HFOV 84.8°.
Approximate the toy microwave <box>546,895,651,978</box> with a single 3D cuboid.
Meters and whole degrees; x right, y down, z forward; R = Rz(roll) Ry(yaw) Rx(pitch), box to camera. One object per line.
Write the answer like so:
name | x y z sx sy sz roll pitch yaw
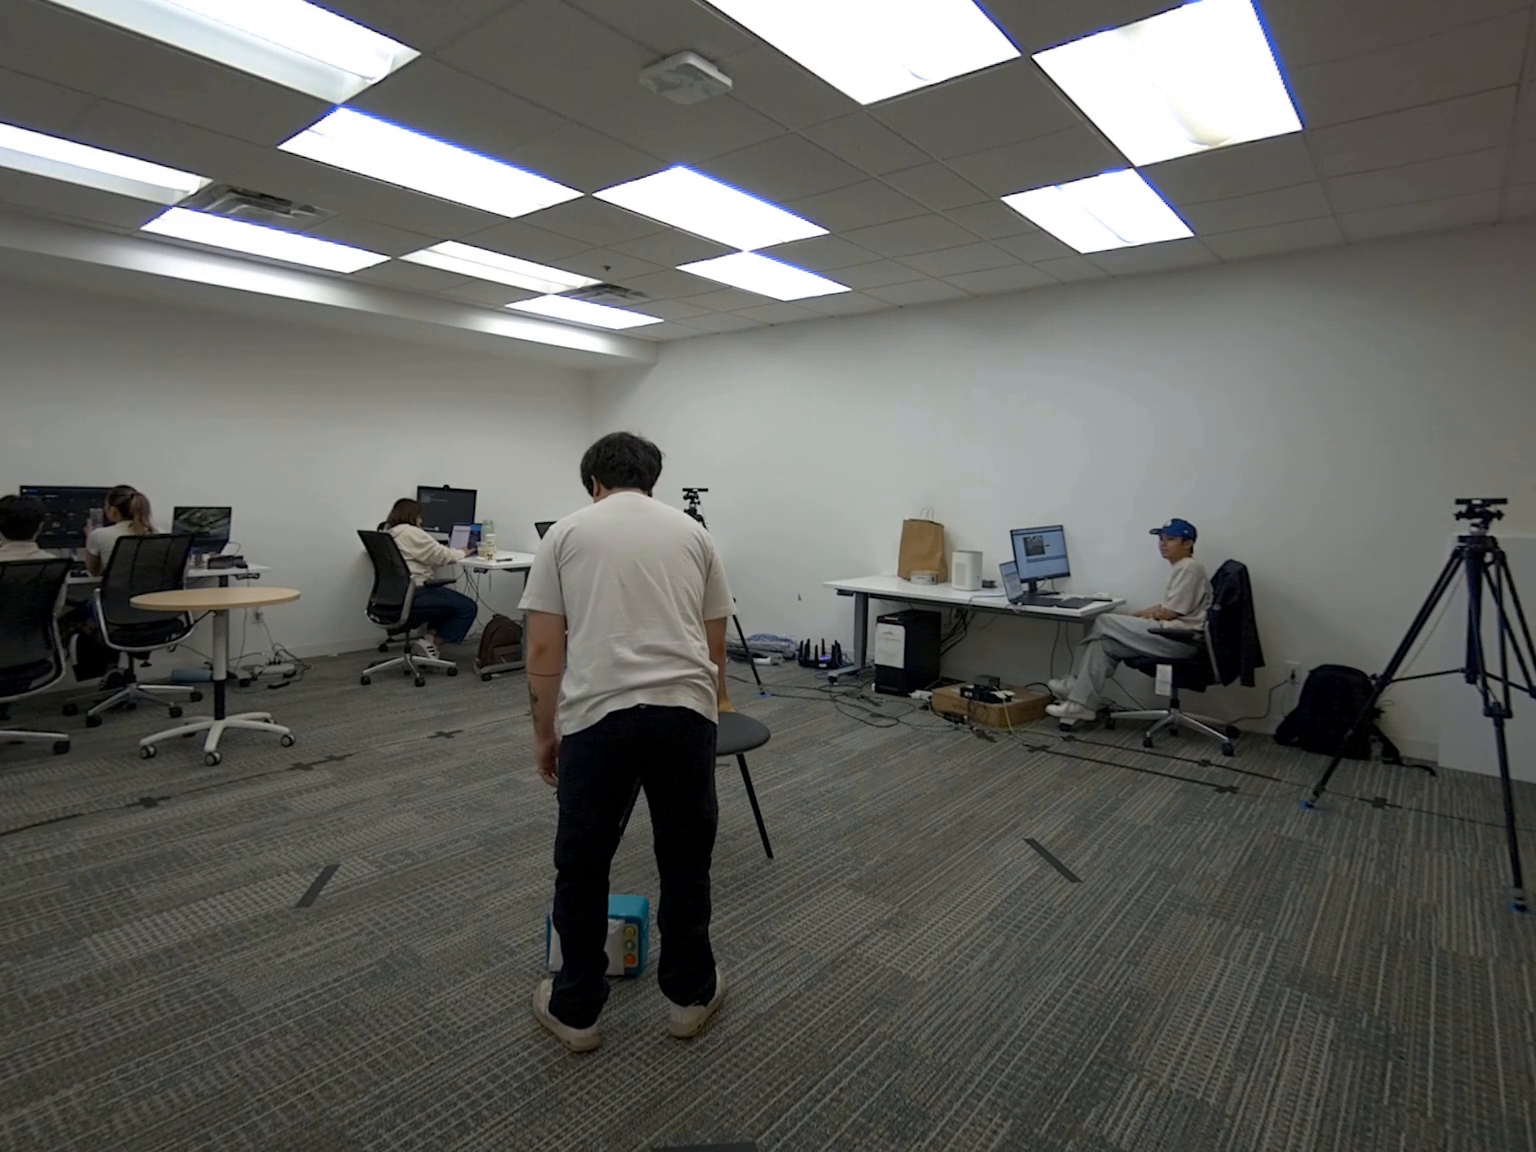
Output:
toy microwave | -0.501 1.037 2.459 0.287 0.184 0.152 1 1 2
